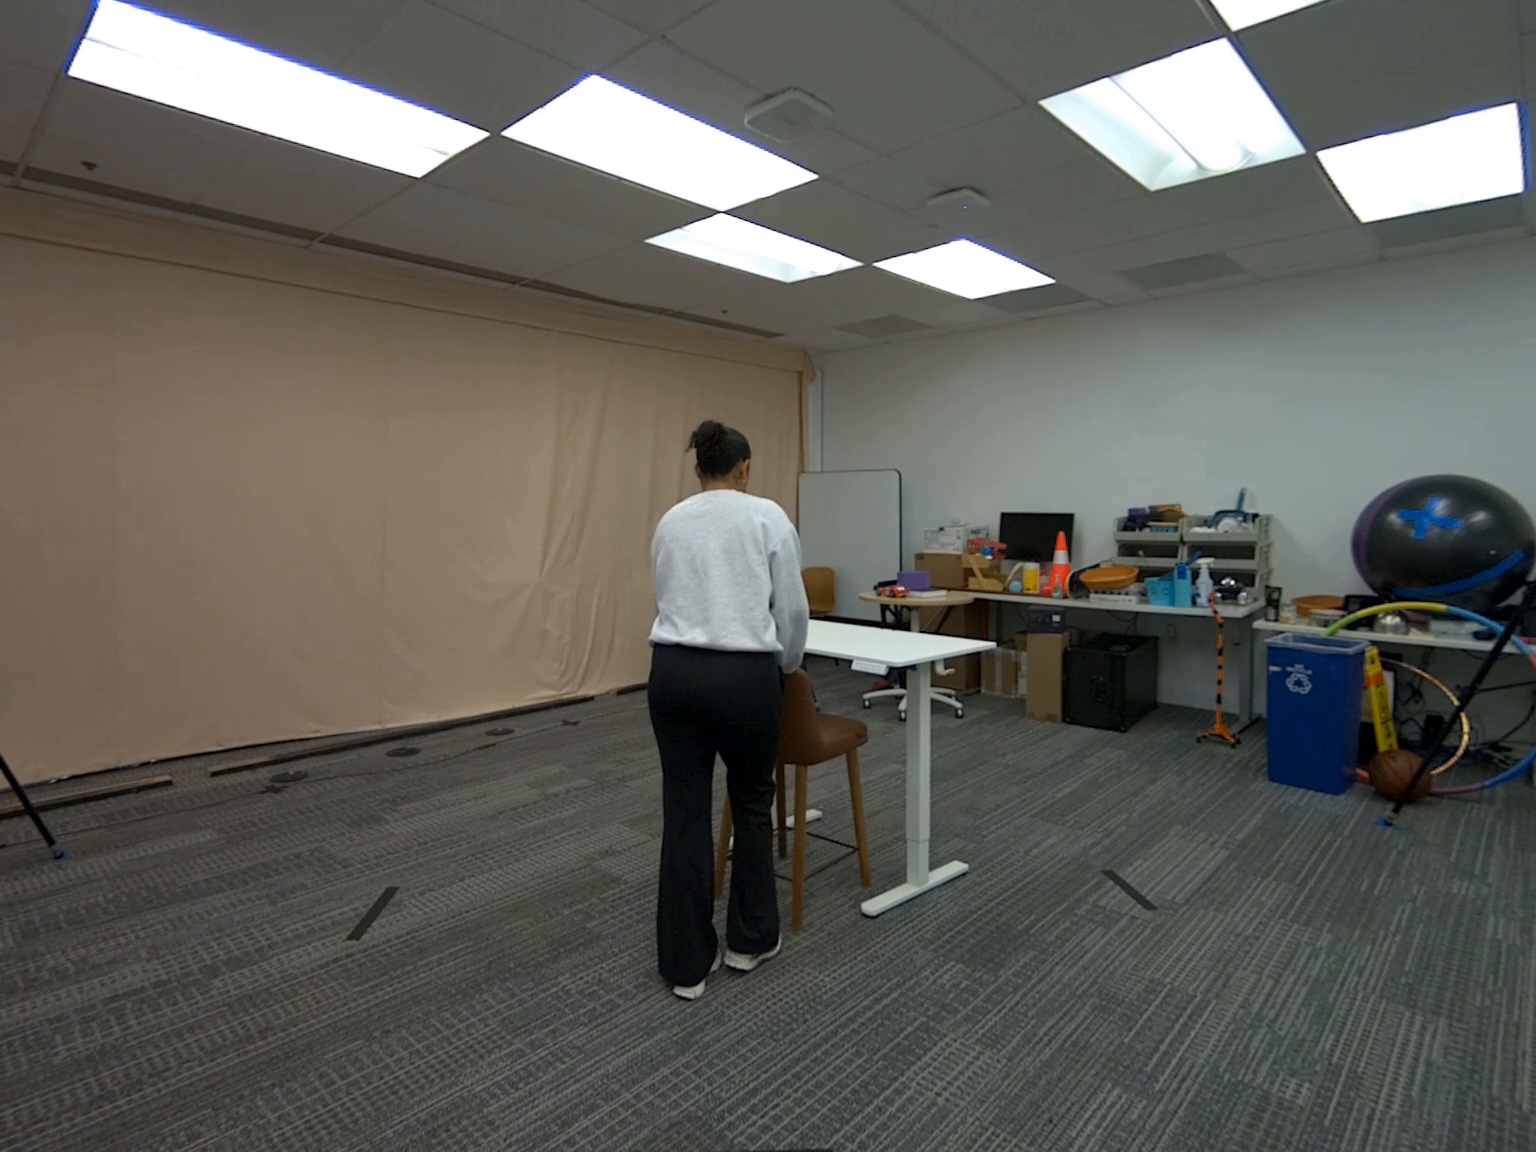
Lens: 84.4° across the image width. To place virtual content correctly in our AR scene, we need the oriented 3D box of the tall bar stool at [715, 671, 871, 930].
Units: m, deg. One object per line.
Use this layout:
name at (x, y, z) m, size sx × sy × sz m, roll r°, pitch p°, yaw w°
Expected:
tall bar stool at (0.081, 0.702, 3.003) m, size 0.472 × 0.886 × 0.454 m, roll 4°, pitch 8°, yaw 40°
